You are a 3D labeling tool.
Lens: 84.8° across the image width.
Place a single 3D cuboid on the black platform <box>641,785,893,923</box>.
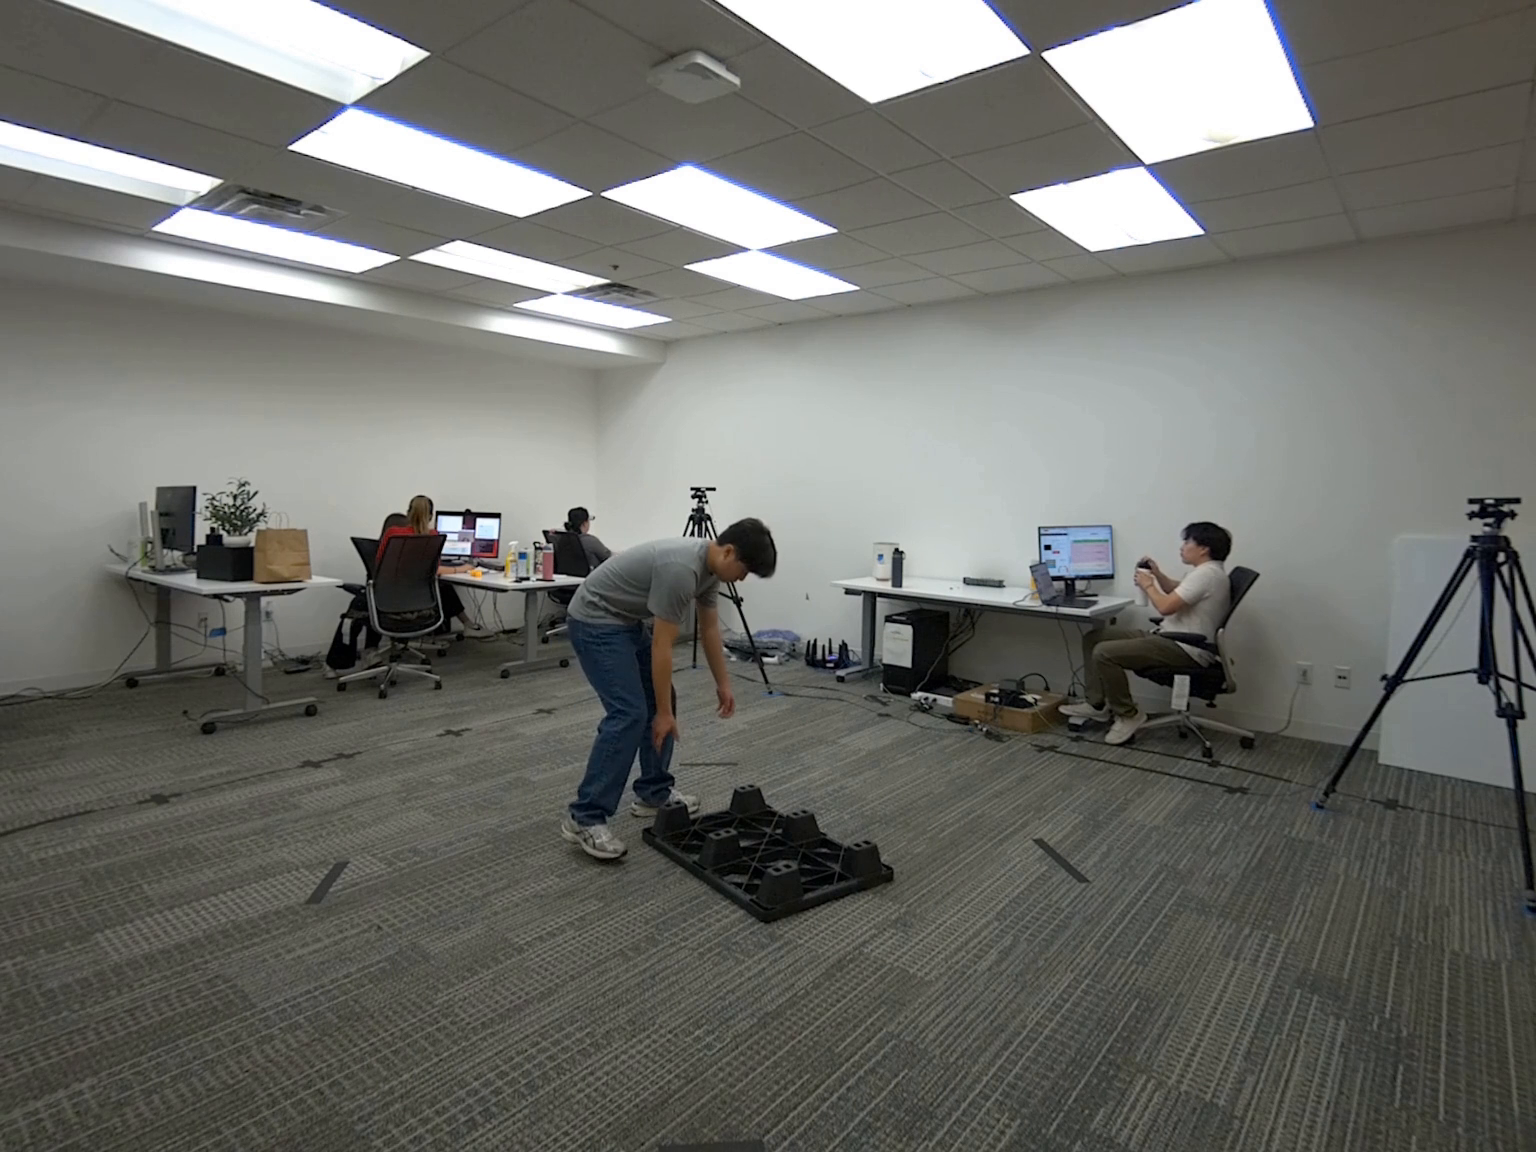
[{"bbox_3d":[-0.035,0.994,3.201,0.587,0.143,0.833,-2,6,-38],"label":"black platform"}]
